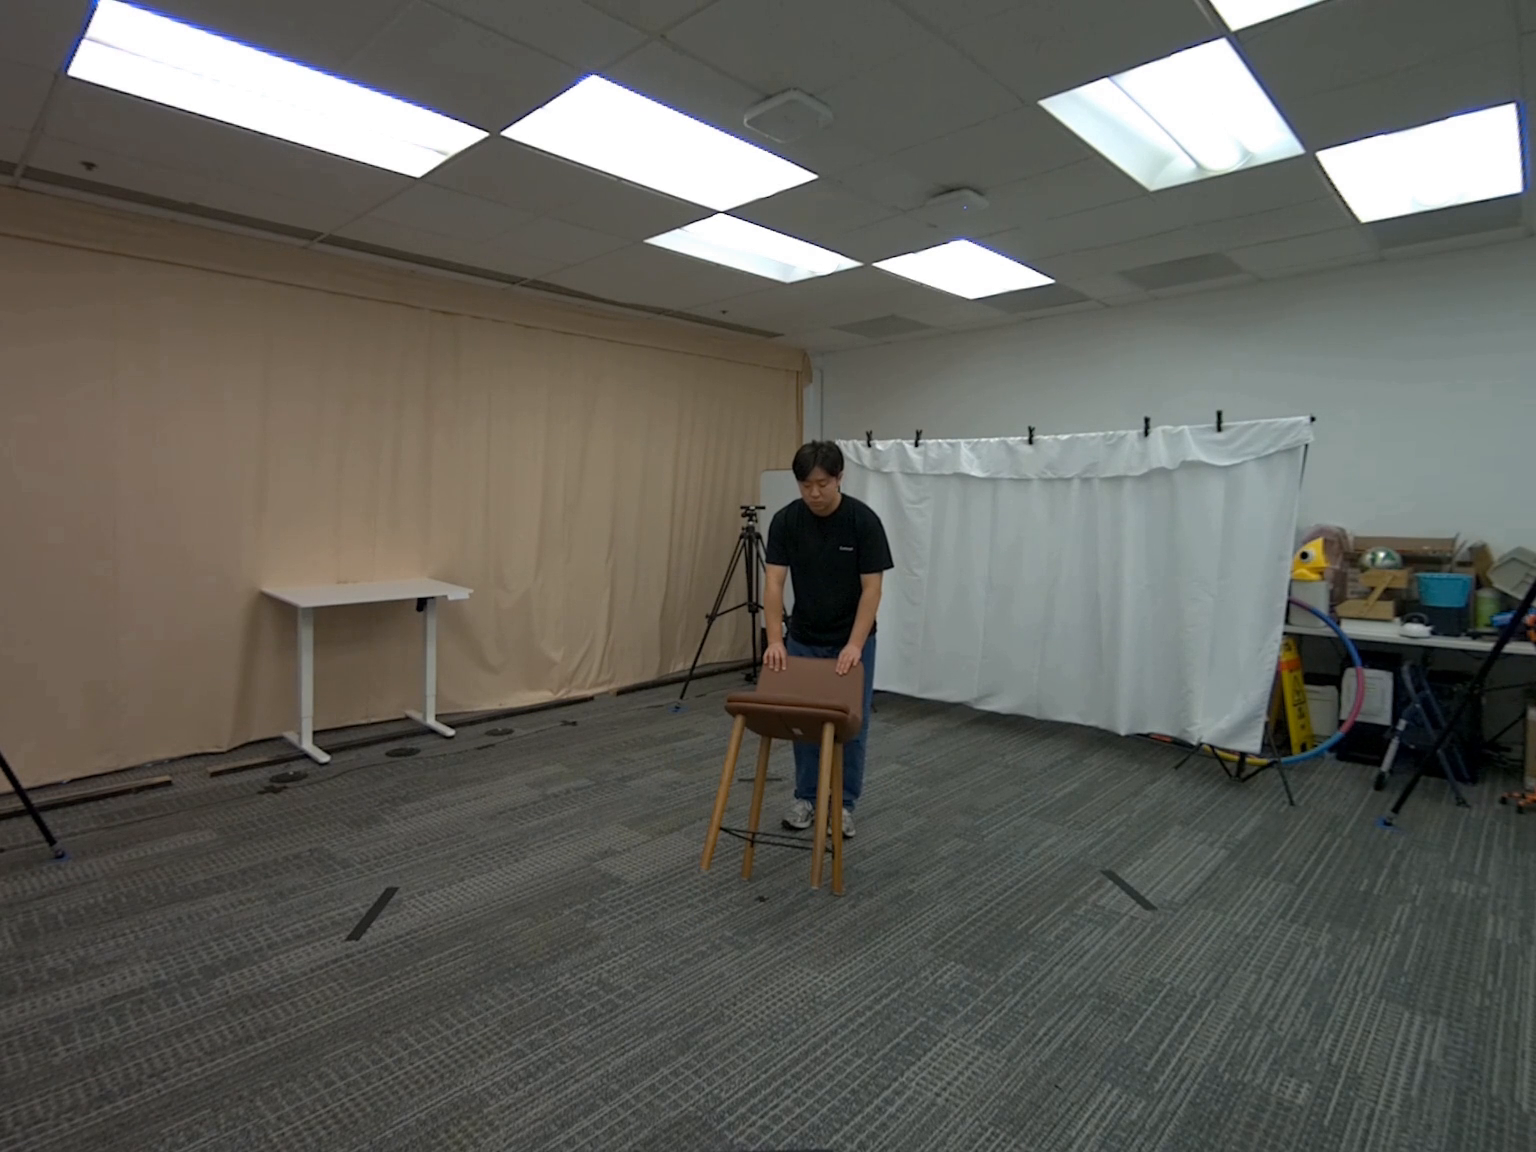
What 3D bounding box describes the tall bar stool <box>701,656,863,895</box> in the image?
[{"bbox_3d":[0.086,0.656,3.057,0.466,0.898,0.453,0,-25,19],"label":"tall bar stool"}]
